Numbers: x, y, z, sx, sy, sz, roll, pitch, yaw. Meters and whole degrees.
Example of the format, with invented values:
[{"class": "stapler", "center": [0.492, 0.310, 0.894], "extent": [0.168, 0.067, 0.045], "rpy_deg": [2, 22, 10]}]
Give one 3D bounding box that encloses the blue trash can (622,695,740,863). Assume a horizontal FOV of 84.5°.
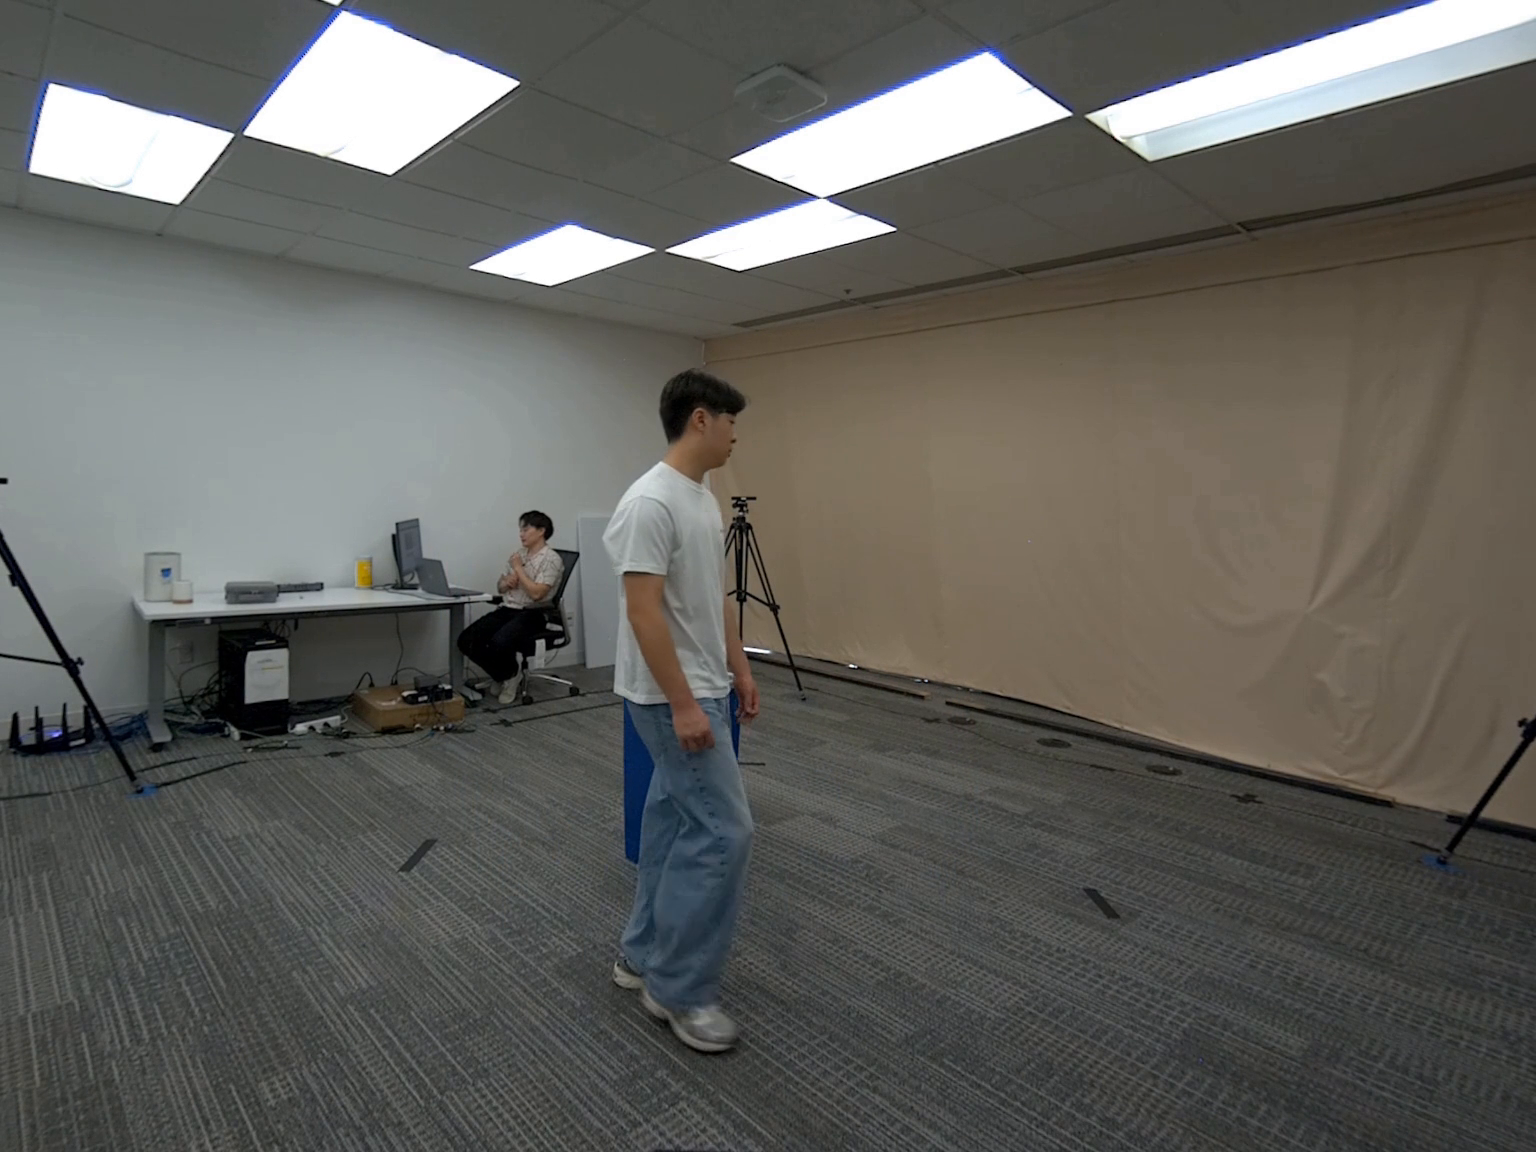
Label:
[{"class": "blue trash can", "center": [-0.336, 0.735, 3.227], "extent": [0.365, 0.712, 0.388], "rpy_deg": [-2, 5, -43]}]
